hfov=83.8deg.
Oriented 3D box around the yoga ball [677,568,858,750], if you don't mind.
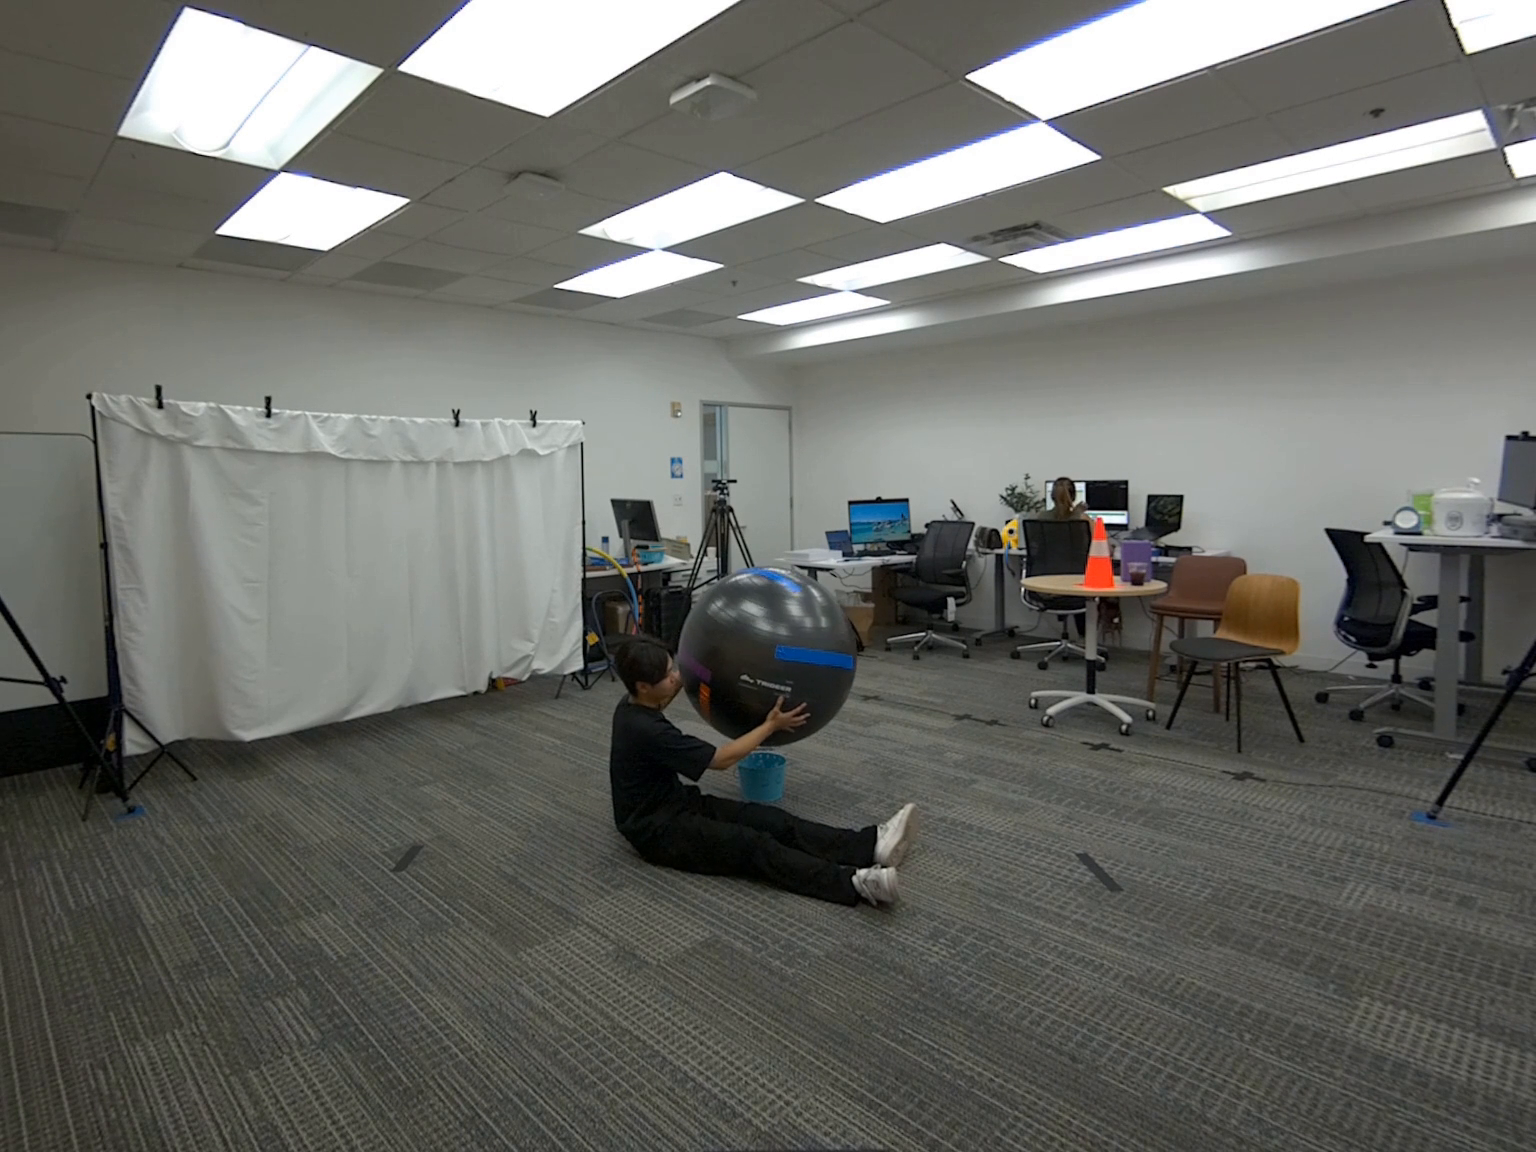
[{"bbox_3d":[0.007,0.351,3.638,0.757,0.755,0.762,-1,5,-2],"label":"yoga ball"}]
